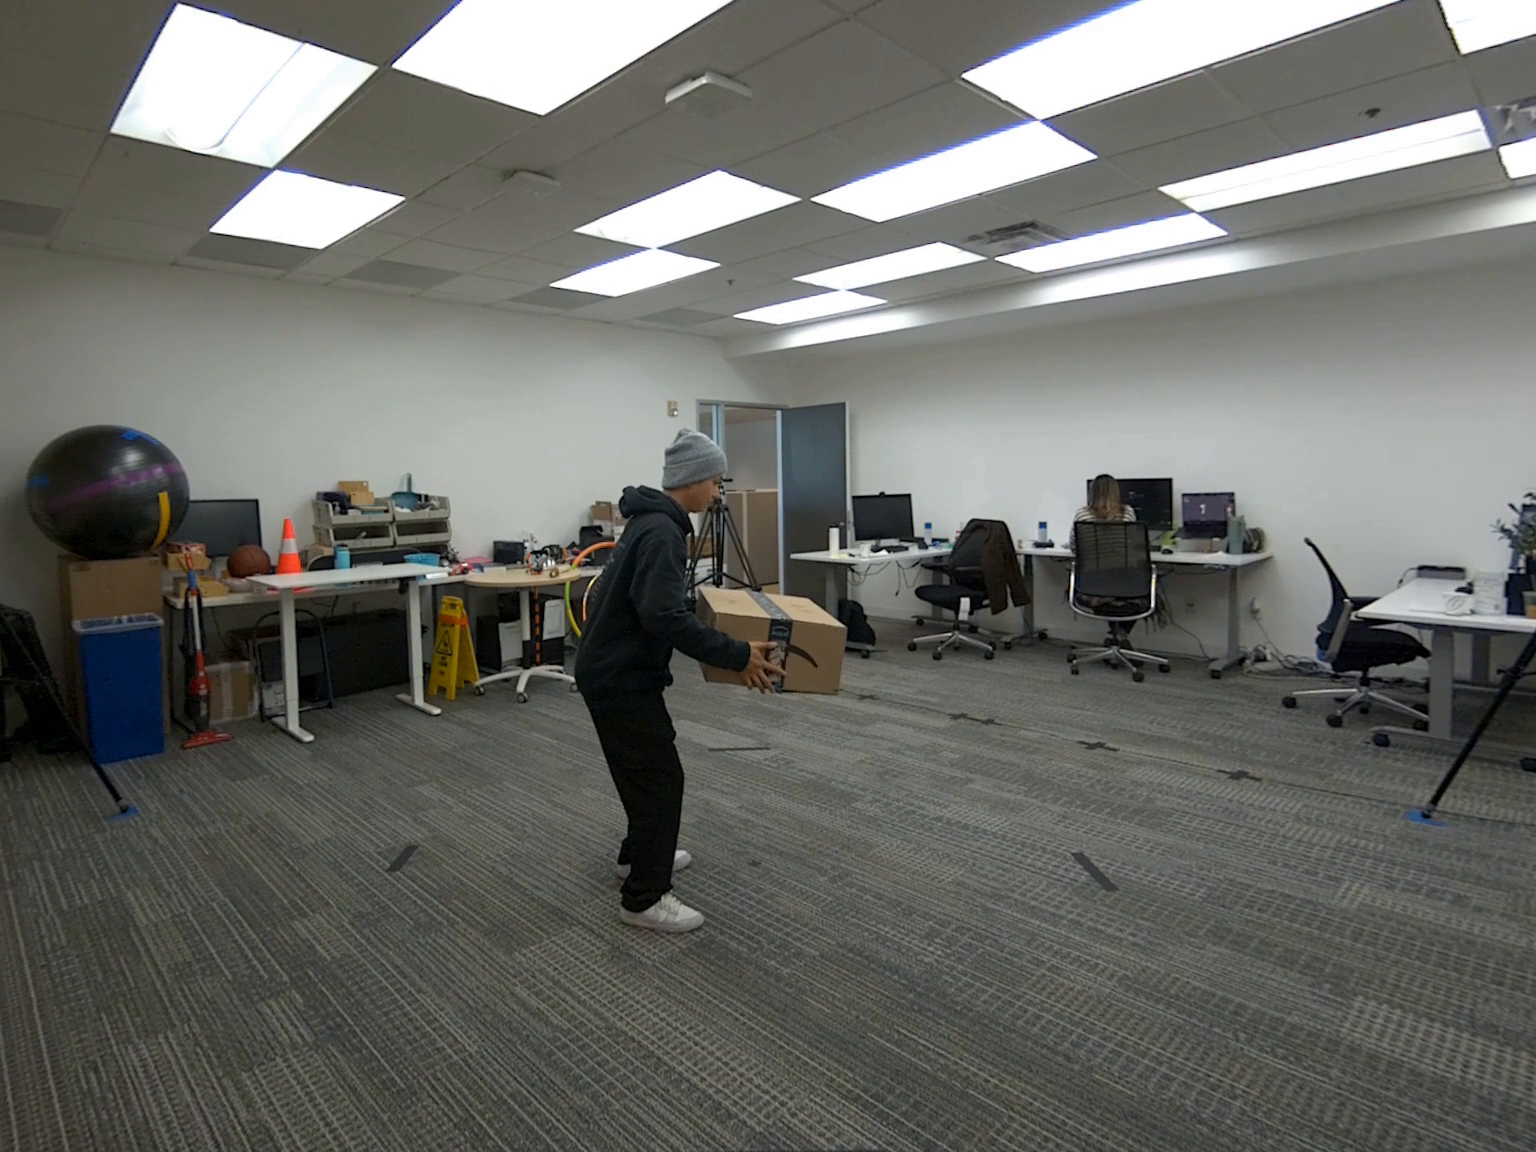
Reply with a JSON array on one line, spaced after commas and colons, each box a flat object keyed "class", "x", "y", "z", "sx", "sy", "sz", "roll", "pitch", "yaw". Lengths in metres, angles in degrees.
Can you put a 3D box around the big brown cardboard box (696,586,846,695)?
[{"class": "big brown cardboard box", "x": -0.022, "y": 0.207, "z": 2.864, "sx": 0.414, "sy": 0.232, "sz": 0.596, "roll": 7, "pitch": 7, "yaw": -9}]
